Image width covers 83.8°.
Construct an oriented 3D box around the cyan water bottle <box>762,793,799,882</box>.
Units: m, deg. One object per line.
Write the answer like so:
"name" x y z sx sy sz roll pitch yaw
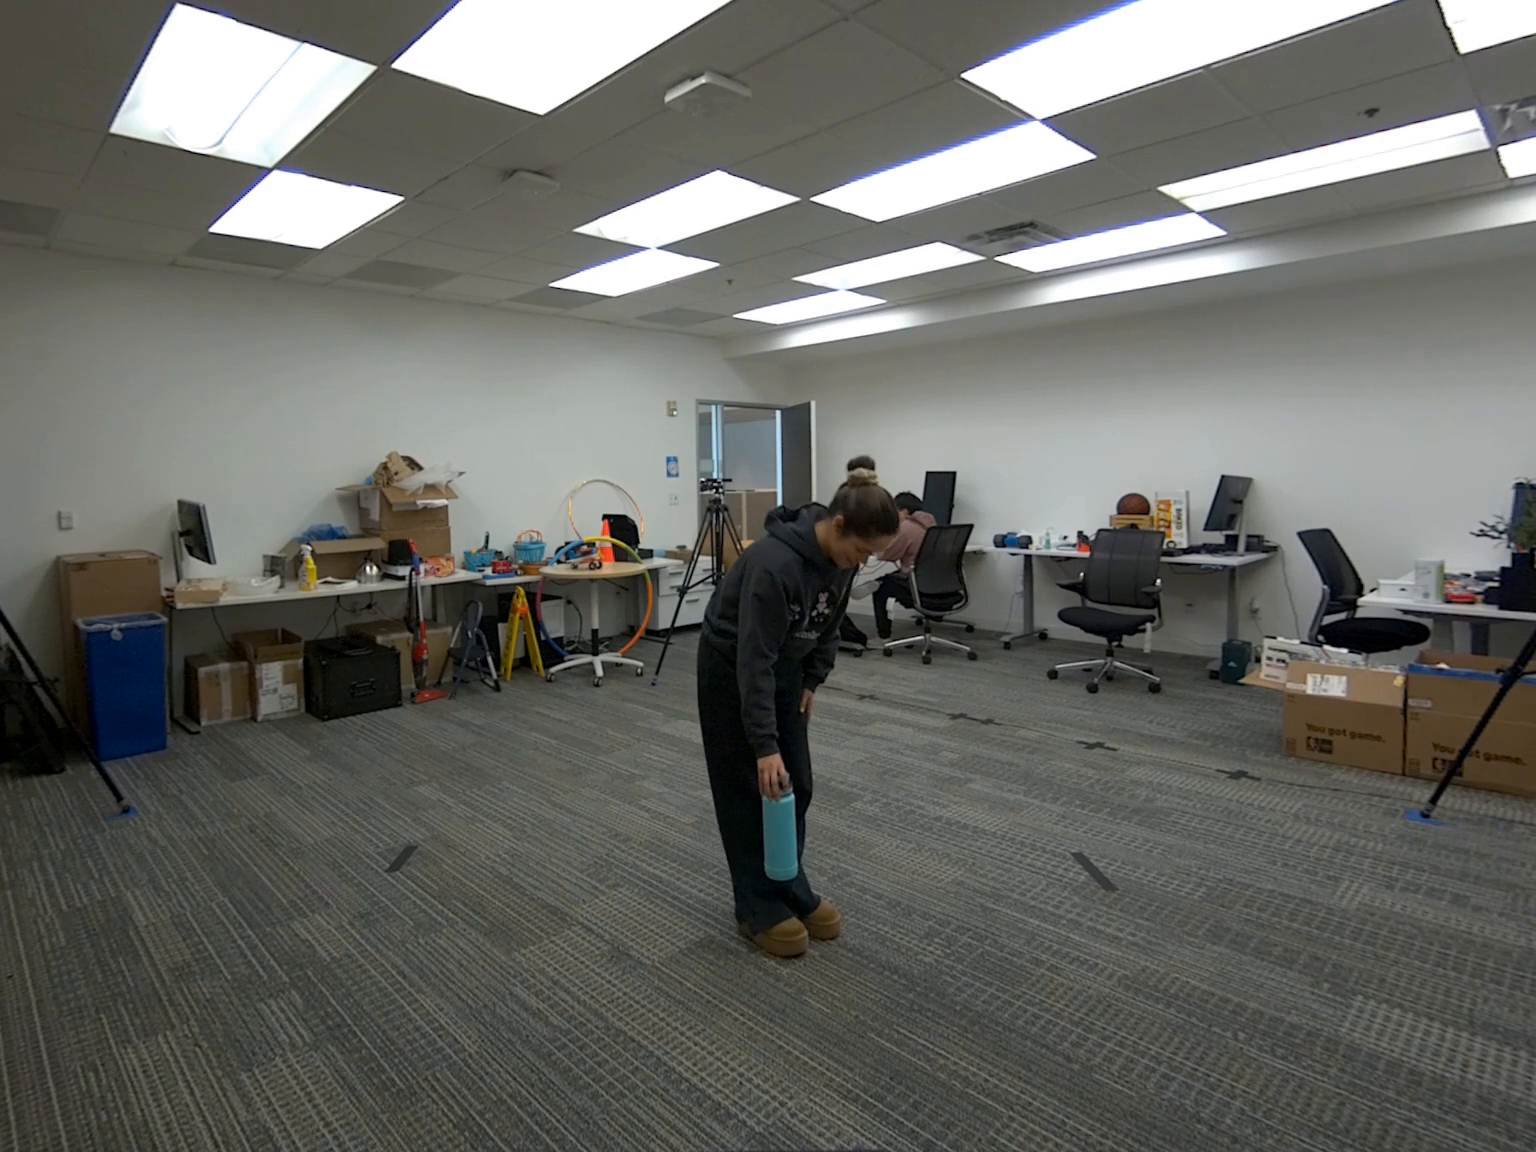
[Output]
"cyan water bottle" 0.031 0.684 2.320 0.092 0.282 0.093 -4 4 -1
